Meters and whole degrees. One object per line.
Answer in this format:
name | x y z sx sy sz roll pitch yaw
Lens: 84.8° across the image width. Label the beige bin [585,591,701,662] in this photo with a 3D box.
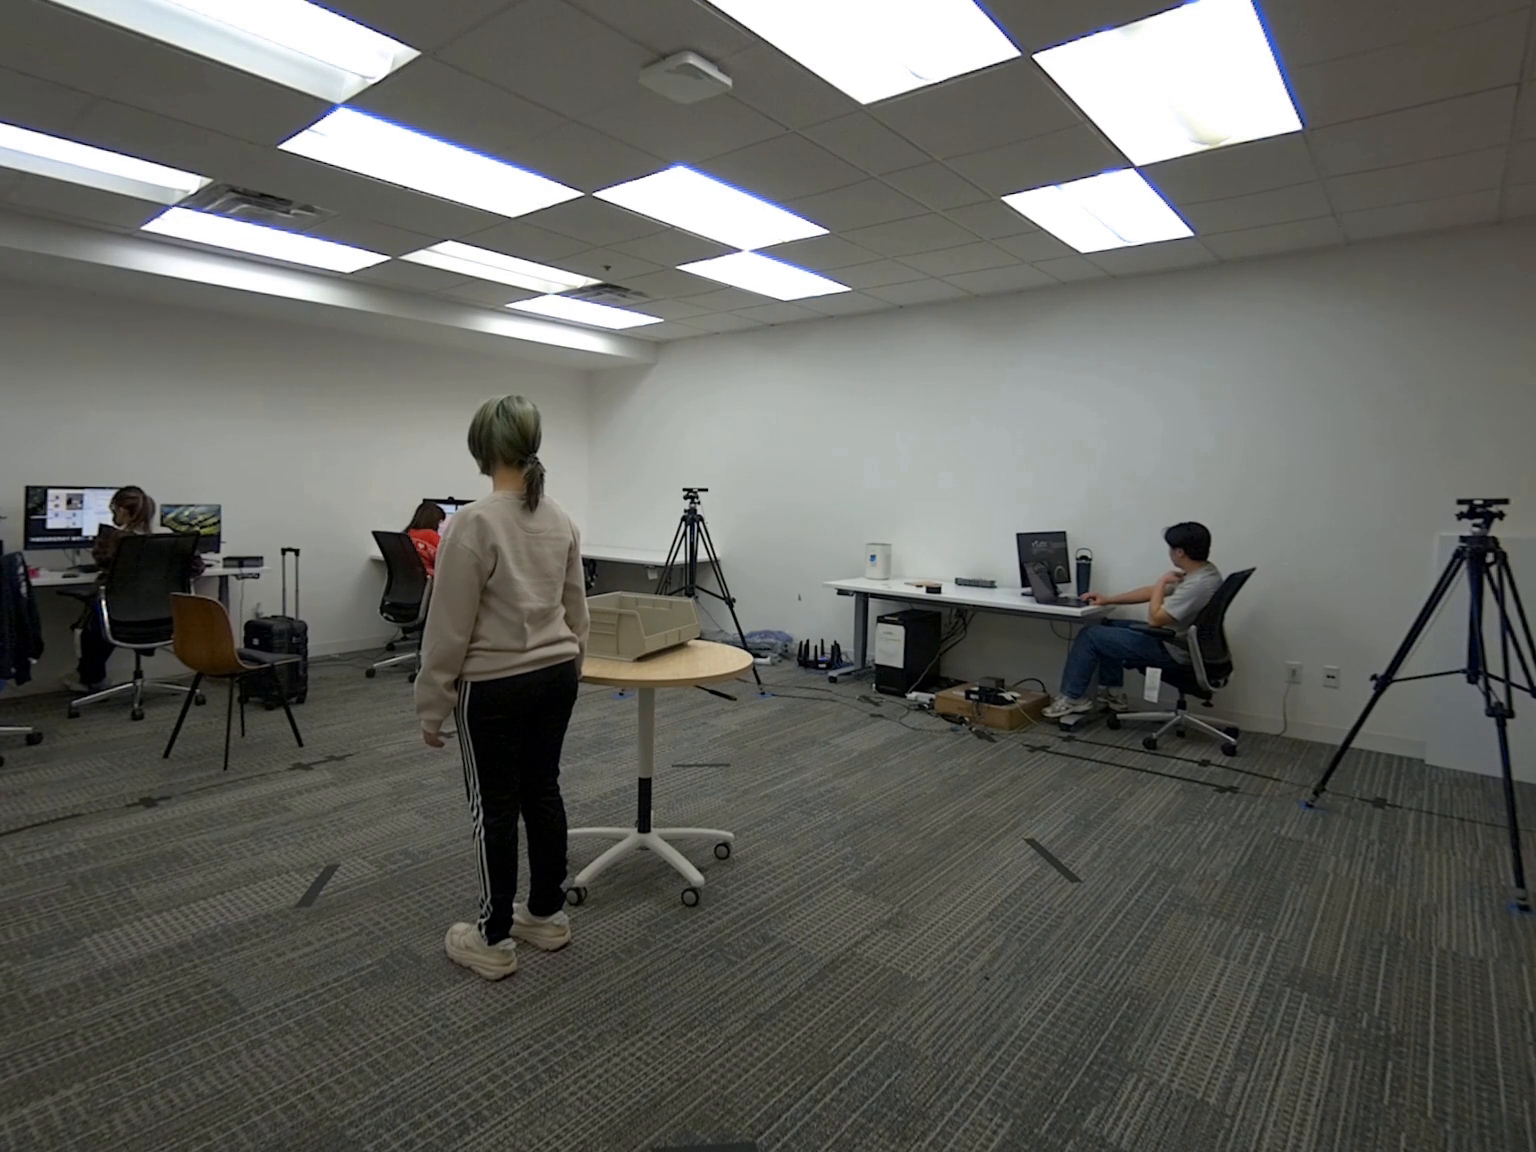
beige bin | -0.521 0.183 3.184 0.387 0.188 0.413 2 6 24
